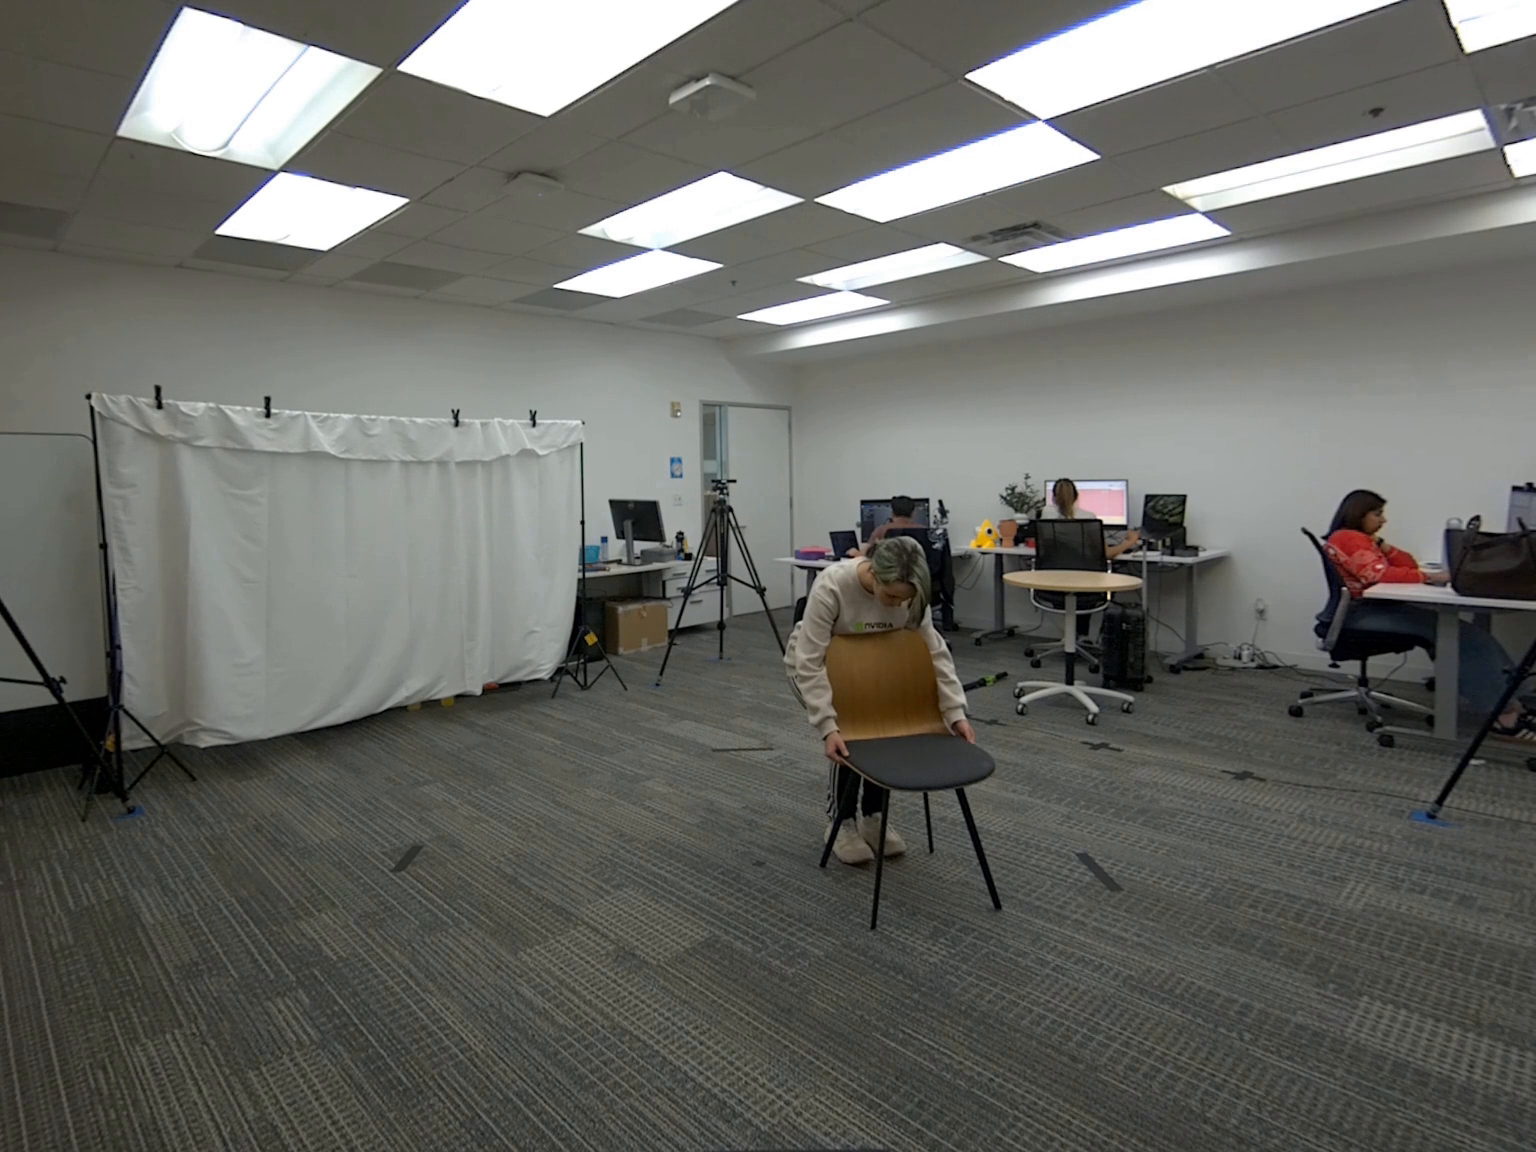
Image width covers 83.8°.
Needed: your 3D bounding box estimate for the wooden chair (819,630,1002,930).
[{"bbox_3d":[0.466,0.641,2.860,0.471,0.878,0.530,-2,0,-16],"label":"wooden chair"}]
